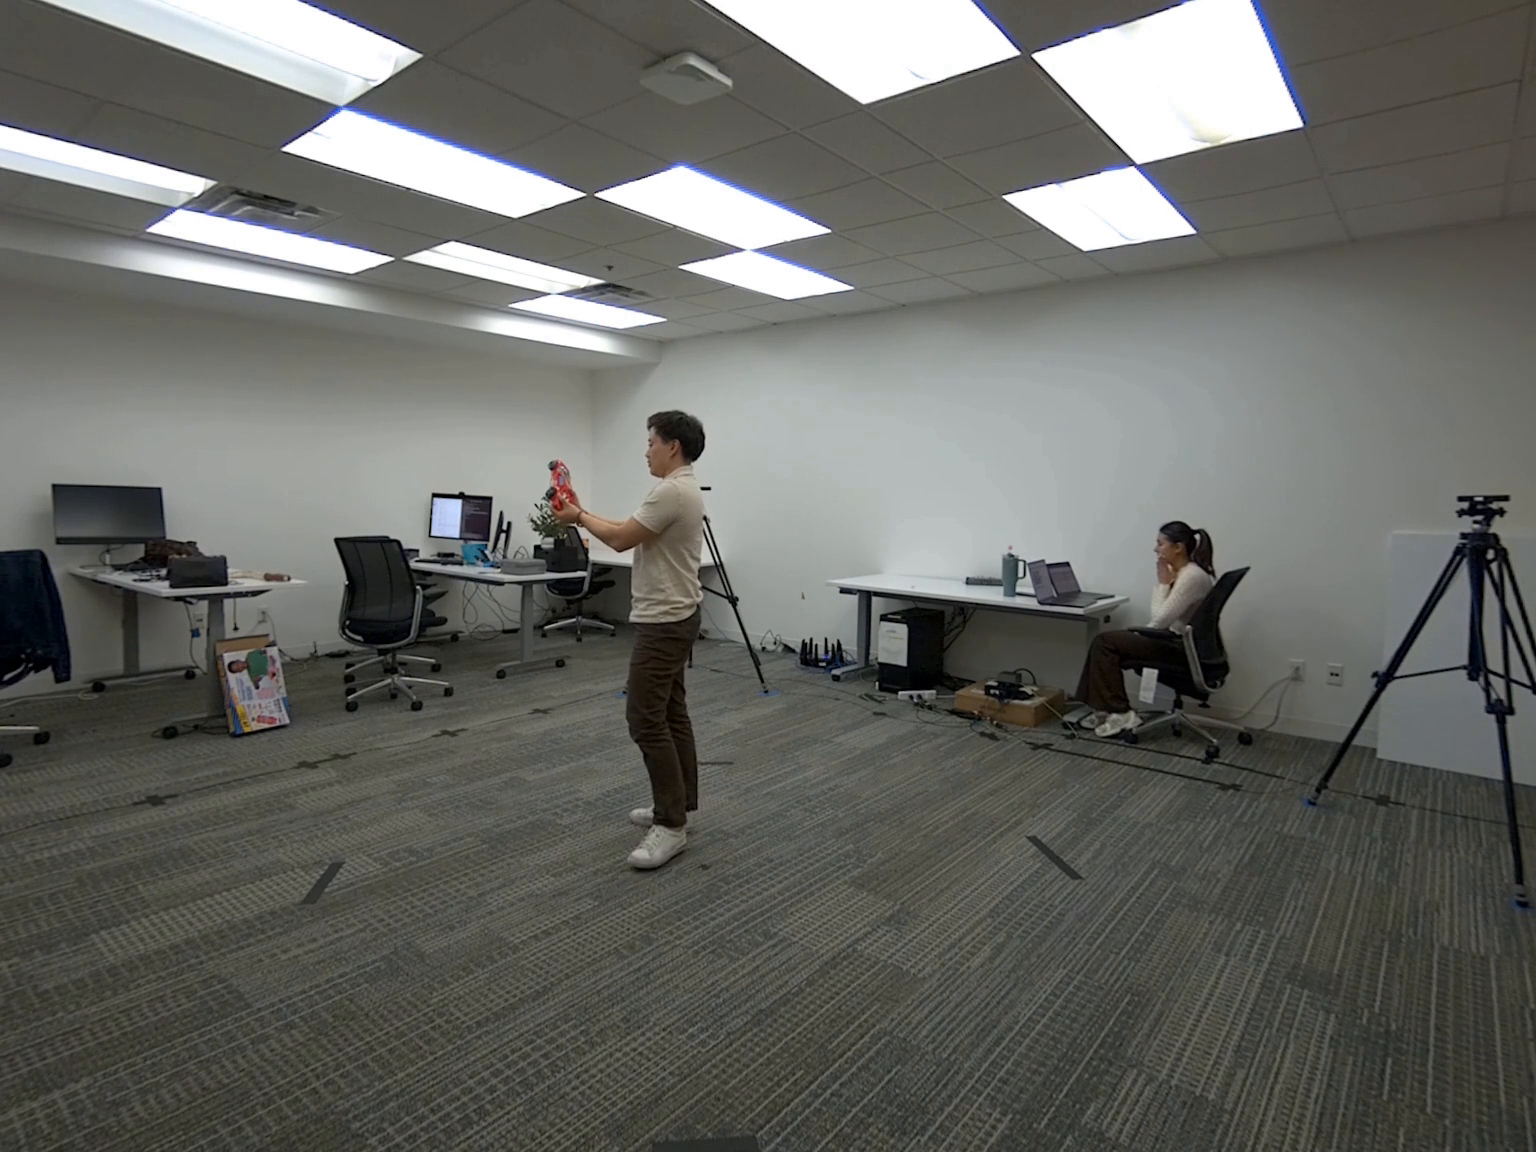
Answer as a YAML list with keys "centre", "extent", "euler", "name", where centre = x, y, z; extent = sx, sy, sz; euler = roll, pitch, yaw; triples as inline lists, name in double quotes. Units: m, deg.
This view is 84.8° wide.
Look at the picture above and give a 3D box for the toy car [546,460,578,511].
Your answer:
- centre: [-0.859, -0.355, 3.445]
  extent: [0.083, 0.264, 0.125]
  euler: [-23, -37, 8]
  name: "toy car"
